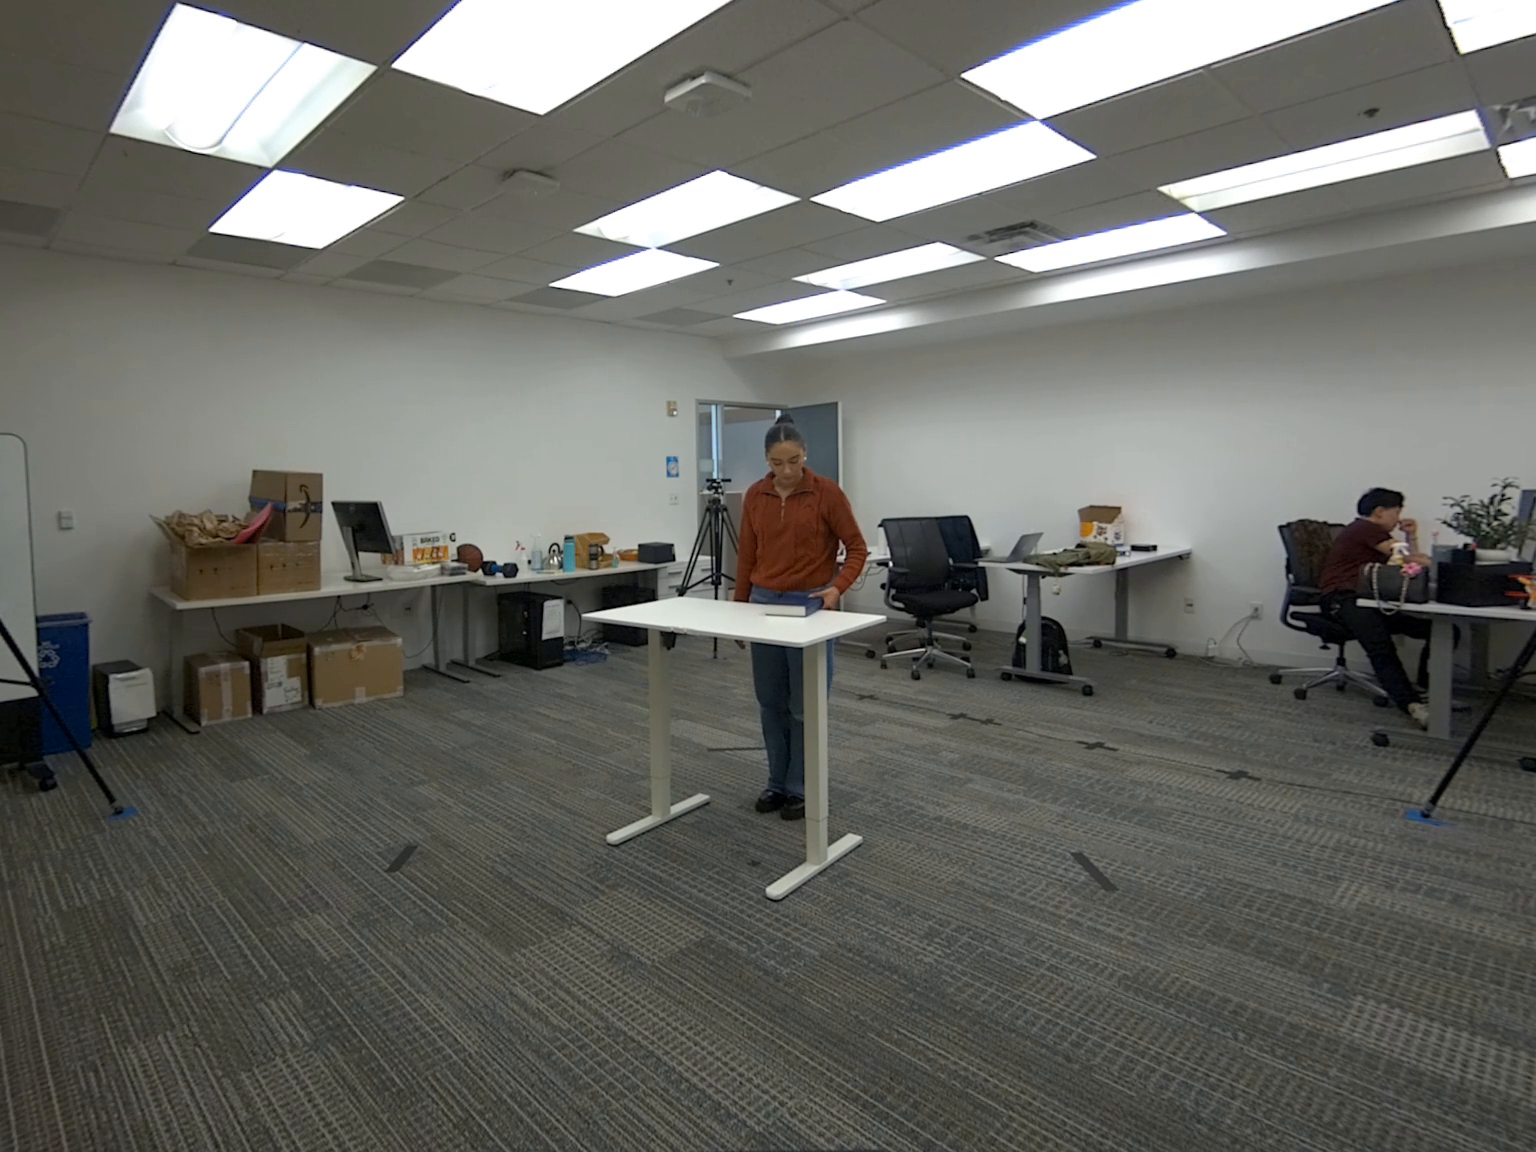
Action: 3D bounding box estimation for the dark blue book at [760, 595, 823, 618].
[{"bbox_3d":[0.107,0.119,3.310,0.167,0.045,0.241,2,8,21],"label":"dark blue book"}]
